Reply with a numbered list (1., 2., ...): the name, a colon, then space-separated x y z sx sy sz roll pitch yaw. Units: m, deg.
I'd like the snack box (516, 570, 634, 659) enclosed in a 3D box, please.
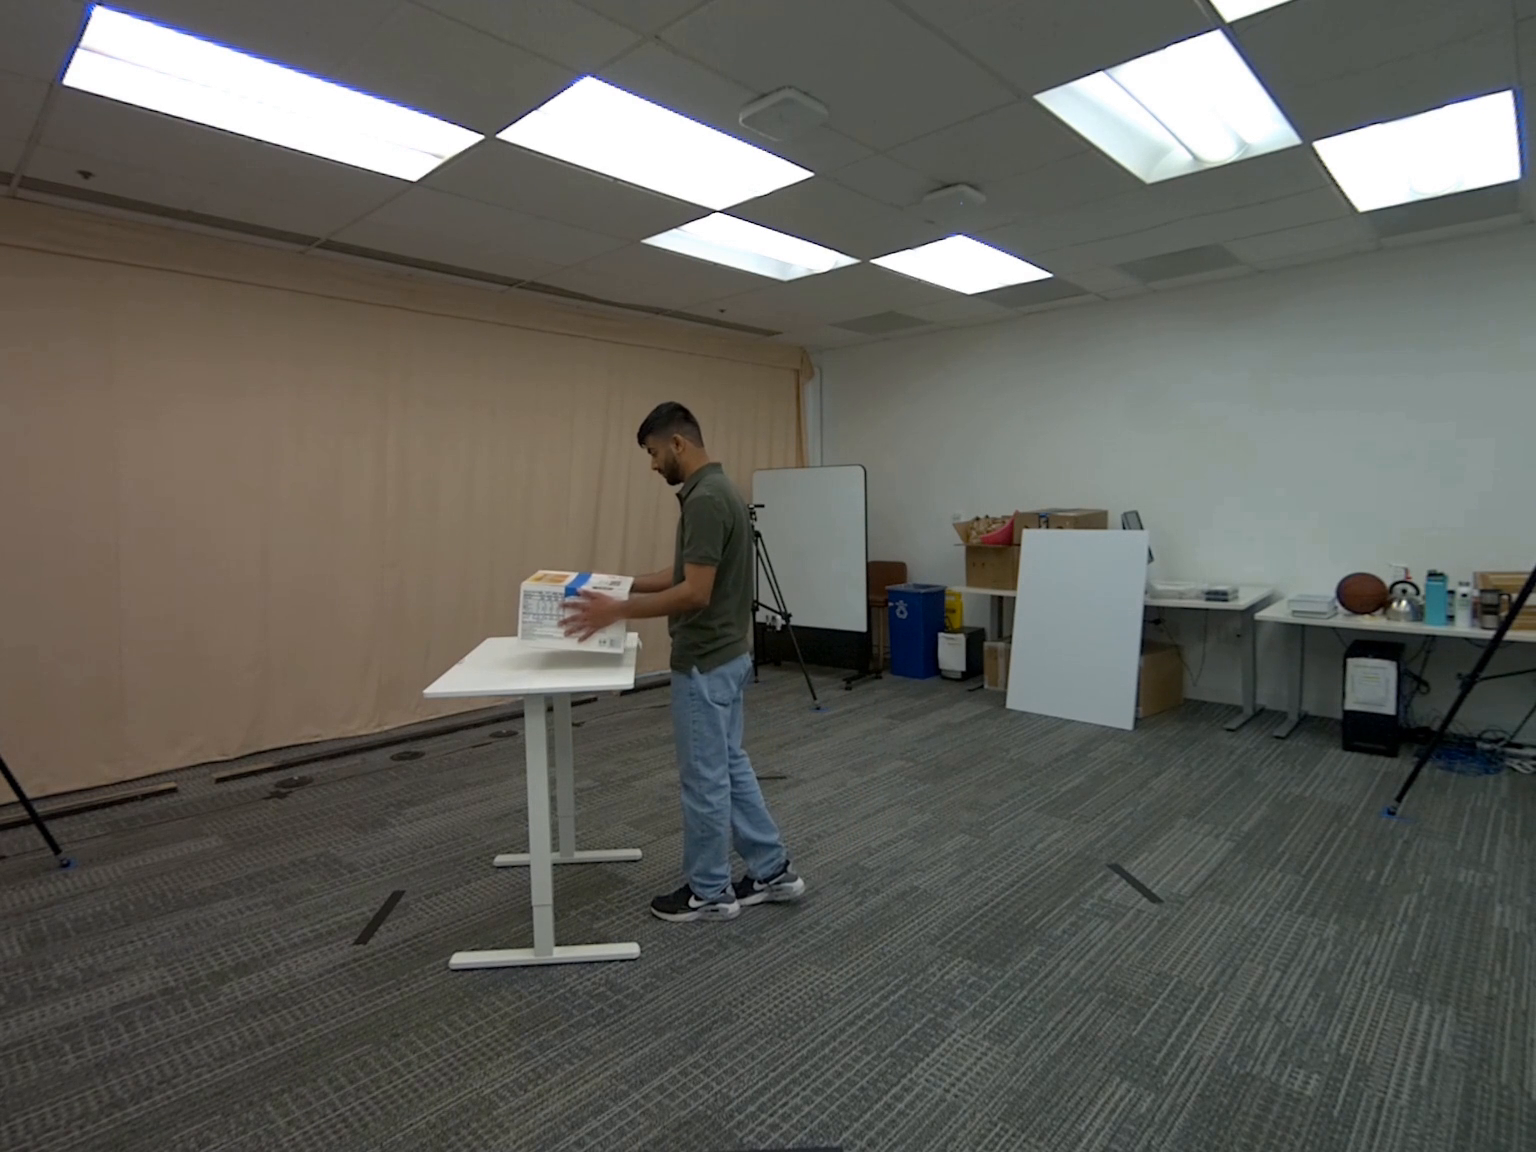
1. snack box: -0.635 0.119 2.846 0.338 0.205 0.409 5 6 -6
